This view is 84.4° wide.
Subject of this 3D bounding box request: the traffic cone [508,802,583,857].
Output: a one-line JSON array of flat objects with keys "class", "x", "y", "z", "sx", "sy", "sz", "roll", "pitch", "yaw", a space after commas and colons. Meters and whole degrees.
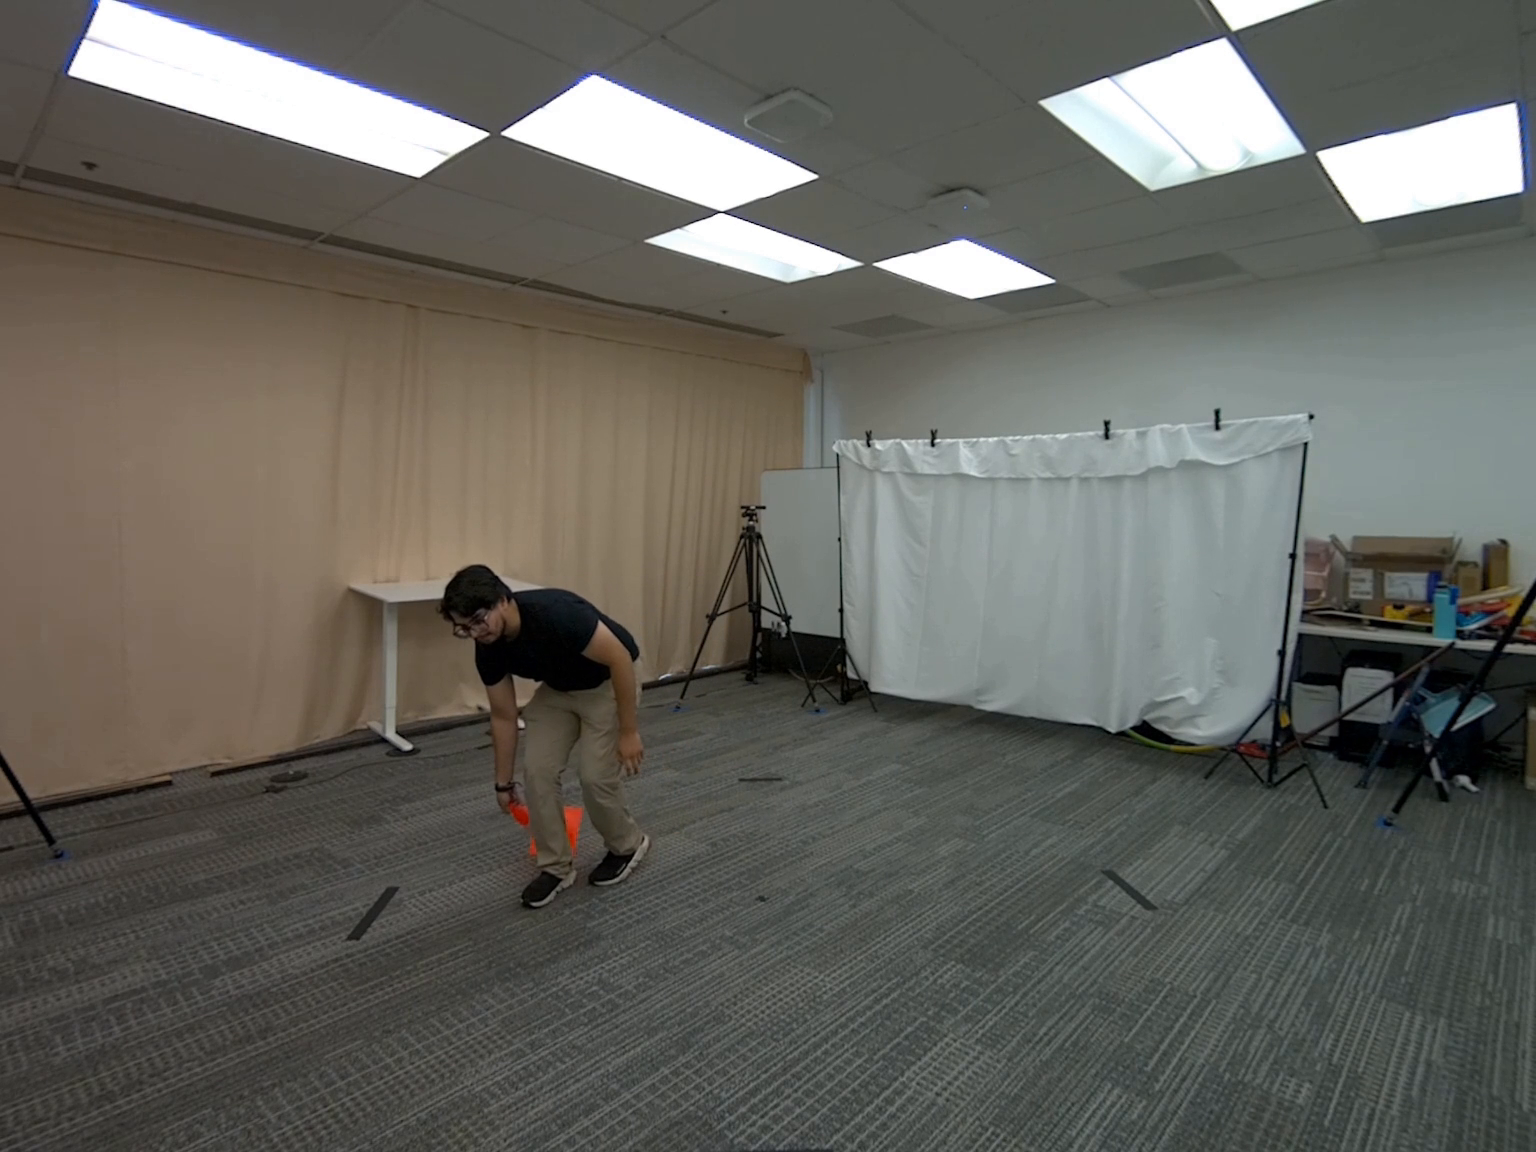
[{"class": "traffic cone", "x": -0.912, "y": 0.948, "z": 3.255, "sx": 0.208, "sy": 0.206, "sz": 0.372, "roll": 5, "pitch": -28, "yaw": 20}]
